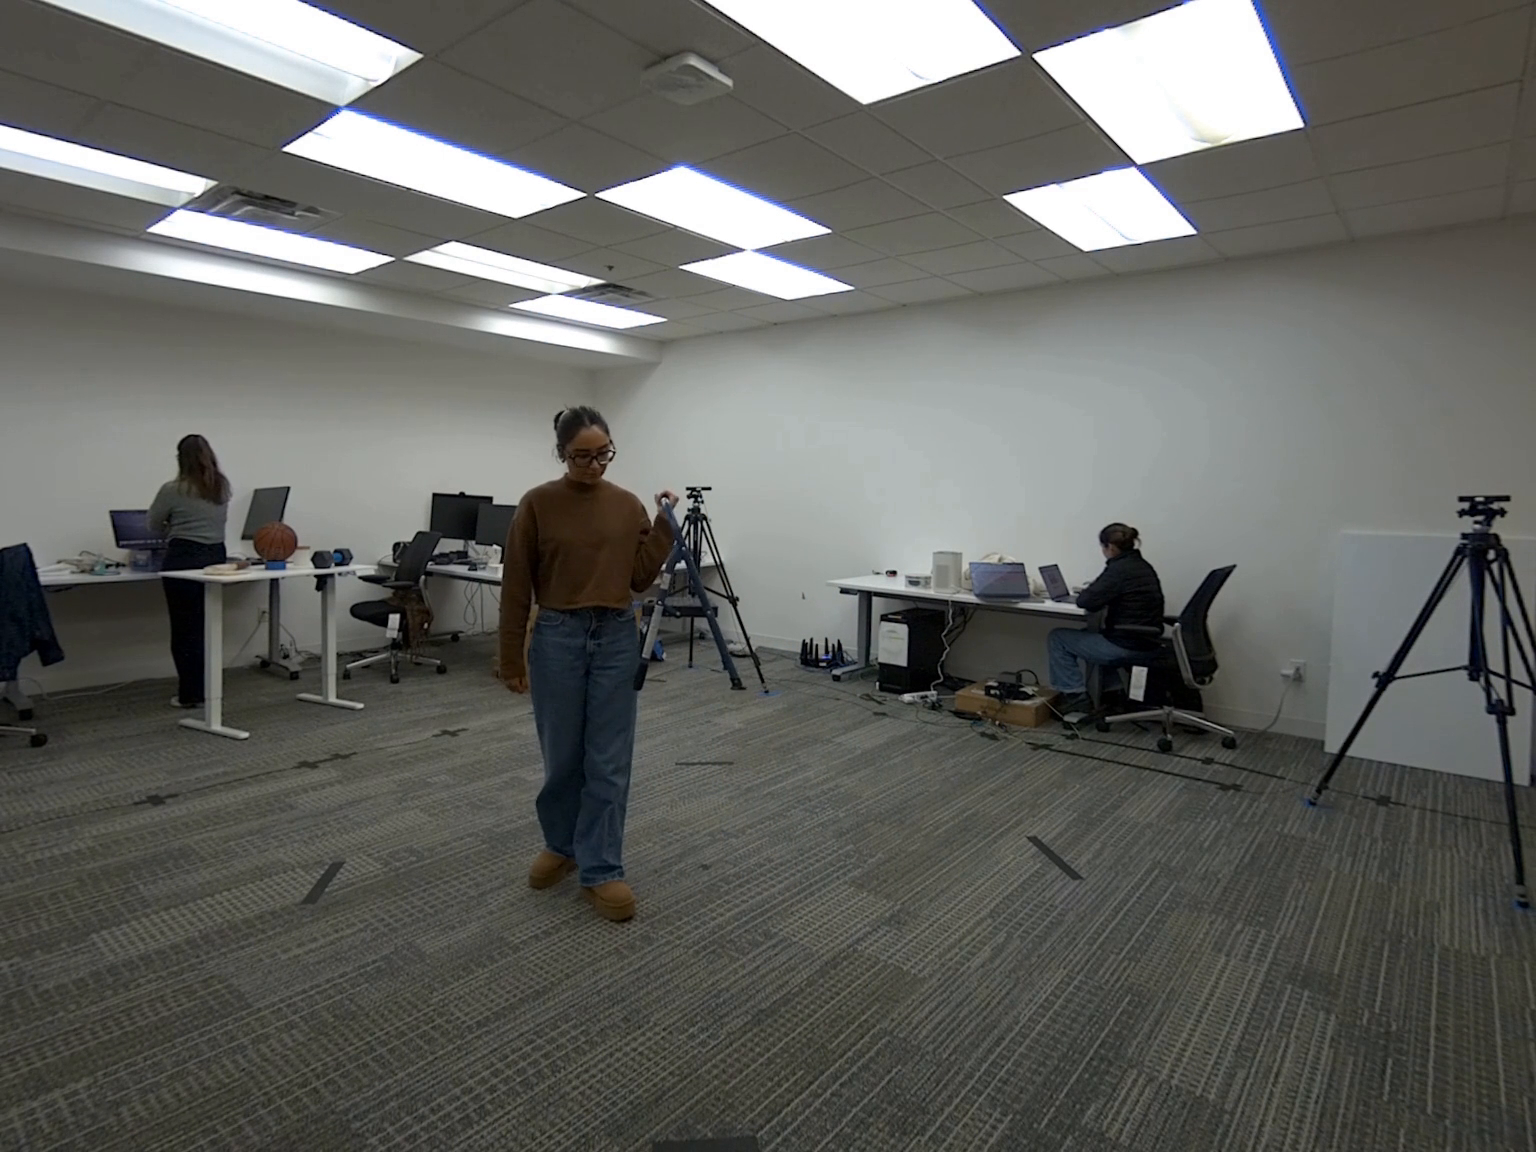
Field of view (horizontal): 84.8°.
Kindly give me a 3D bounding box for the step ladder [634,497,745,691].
[{"bbox_3d":[-0.283,0.043,2.836,0.347,0.605,0.434,-1,2,-6],"label":"step ladder"}]
